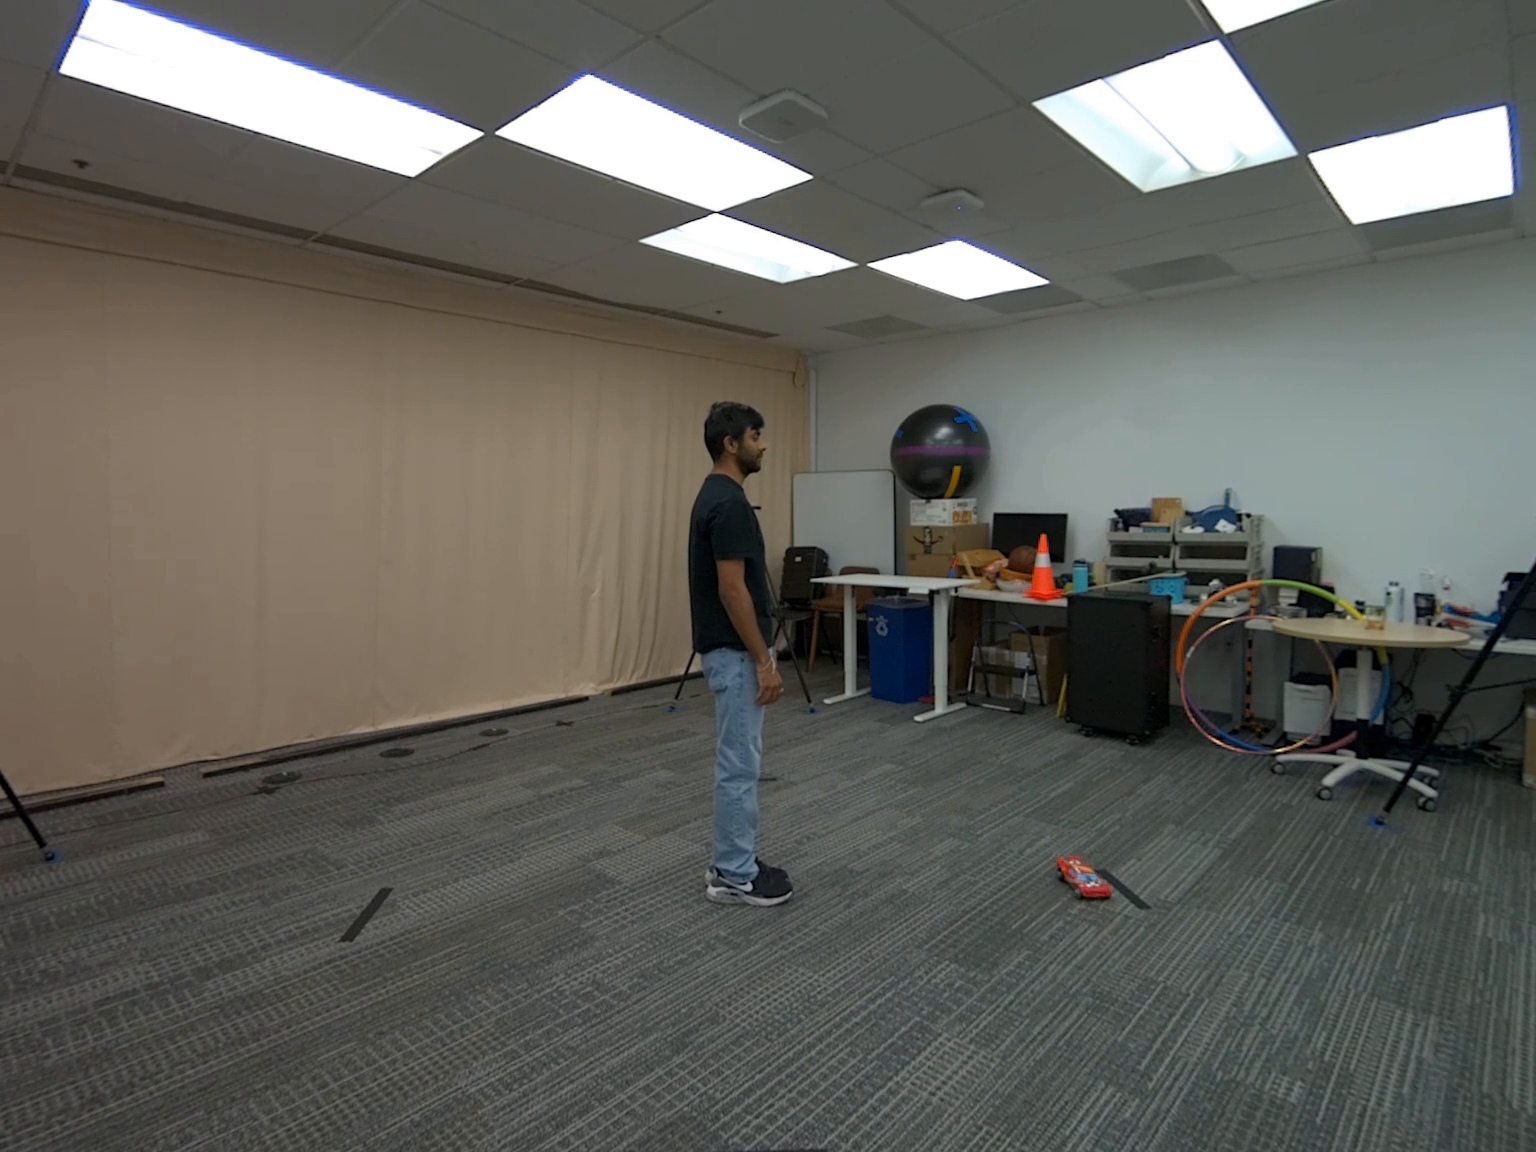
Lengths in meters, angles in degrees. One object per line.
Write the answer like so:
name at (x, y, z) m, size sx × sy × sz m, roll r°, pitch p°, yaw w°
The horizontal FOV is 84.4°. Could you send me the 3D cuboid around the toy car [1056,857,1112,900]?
toy car at (1.150, 1.106, 3.064) m, size 0.130 × 0.082 × 0.257 m, roll -1°, pitch 15°, yaw -3°
